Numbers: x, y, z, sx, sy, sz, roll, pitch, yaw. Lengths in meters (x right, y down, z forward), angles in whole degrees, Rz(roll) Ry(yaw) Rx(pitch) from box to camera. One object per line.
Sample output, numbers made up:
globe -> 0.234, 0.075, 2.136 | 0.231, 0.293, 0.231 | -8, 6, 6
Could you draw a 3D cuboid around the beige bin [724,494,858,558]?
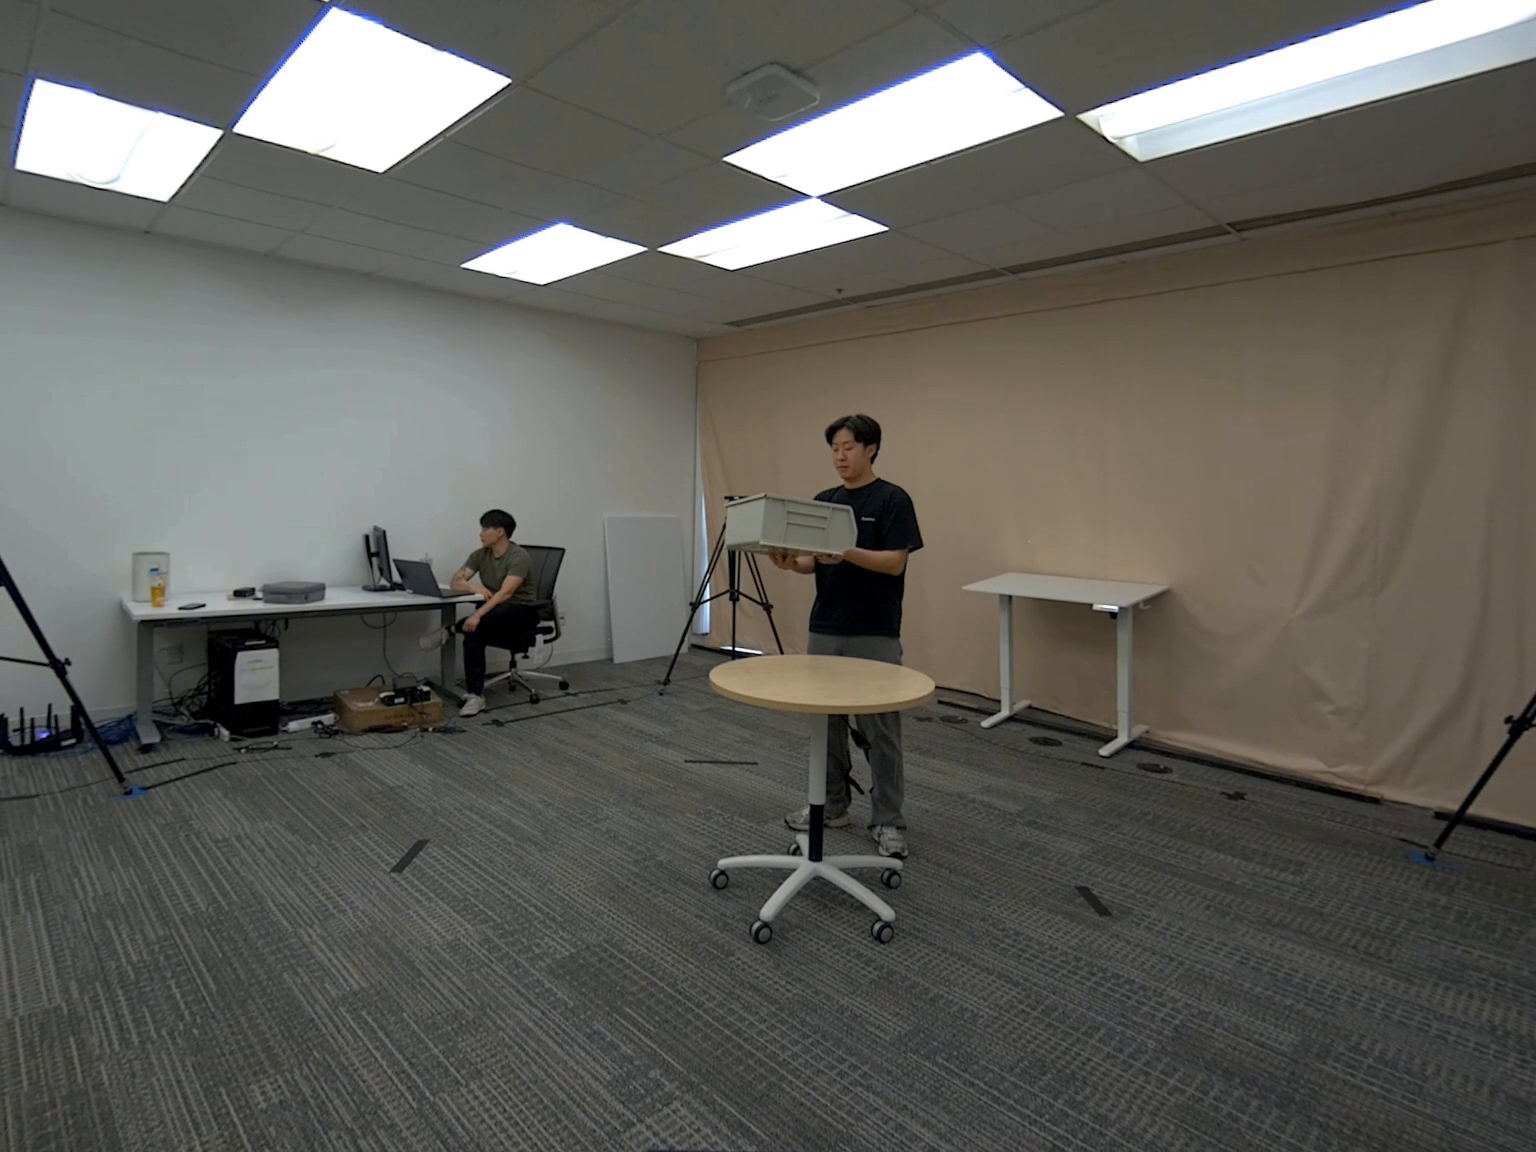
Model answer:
beige bin -> 0.065, -0.172, 3.171 | 0.371, 0.189, 0.428 | 6, -3, -22
